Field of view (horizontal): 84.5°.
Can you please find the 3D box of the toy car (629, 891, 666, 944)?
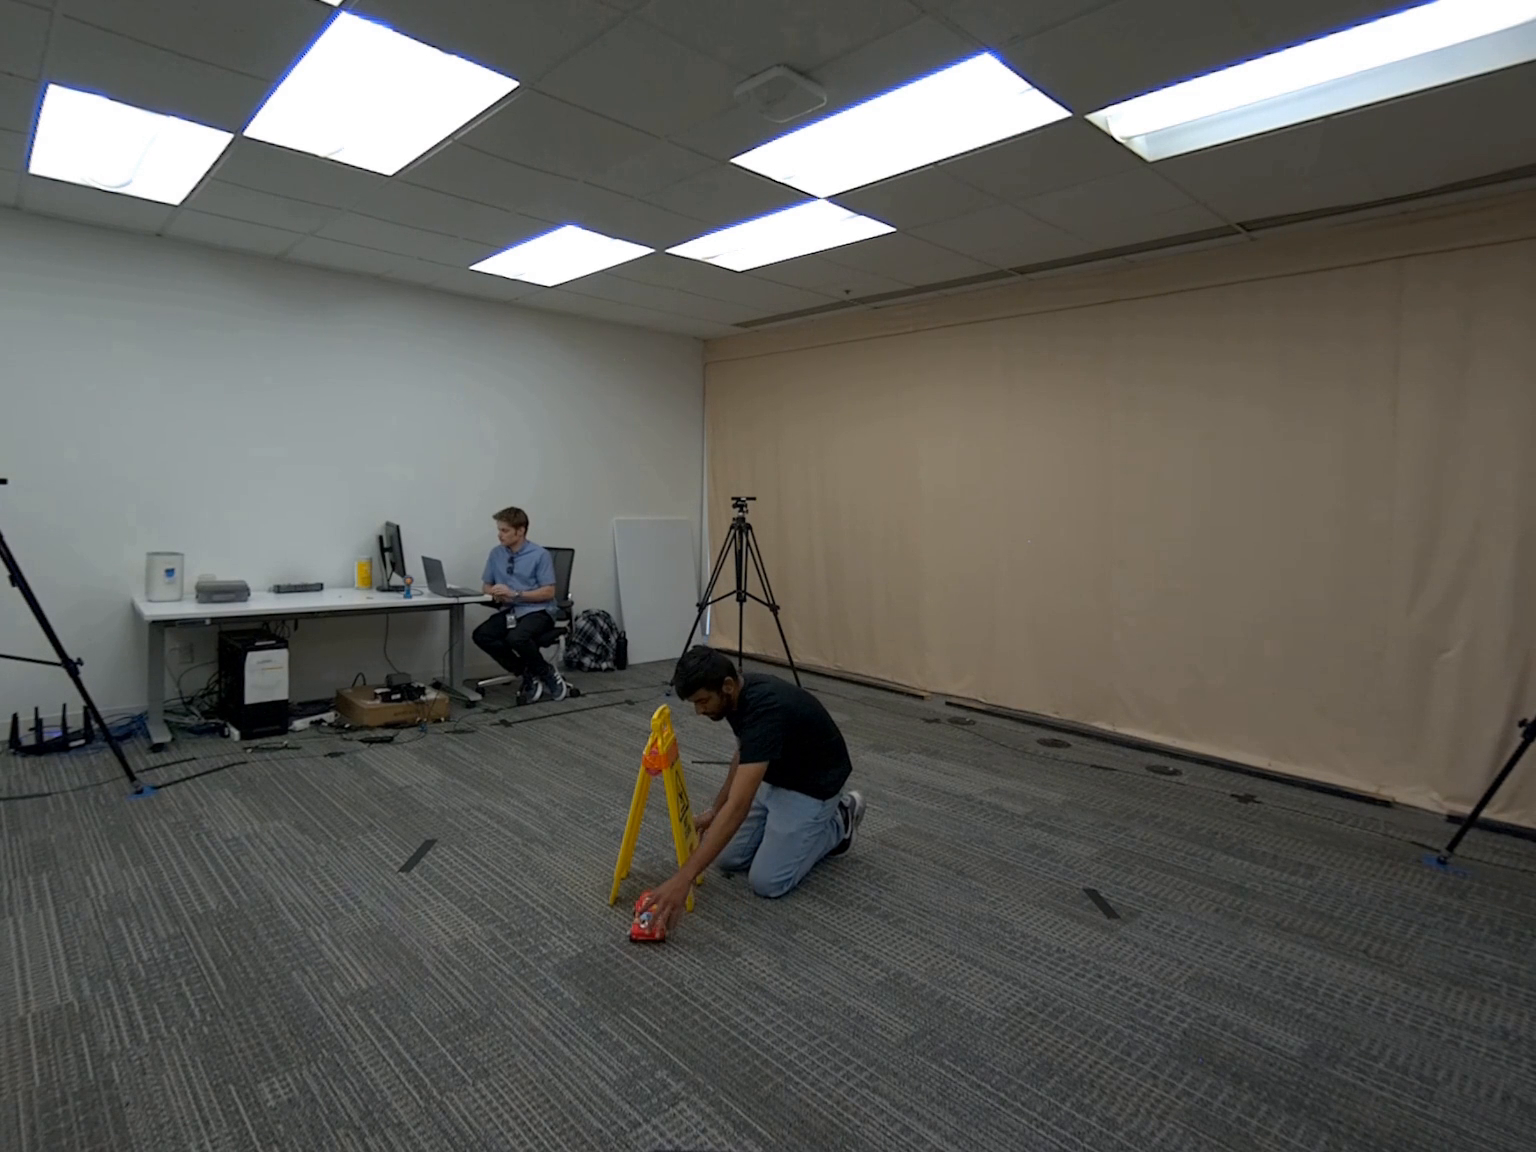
[{"bbox_3d":[-0.384,1.105,2.735,0.130,0.082,0.257,2,17,0],"label":"toy car"}]
